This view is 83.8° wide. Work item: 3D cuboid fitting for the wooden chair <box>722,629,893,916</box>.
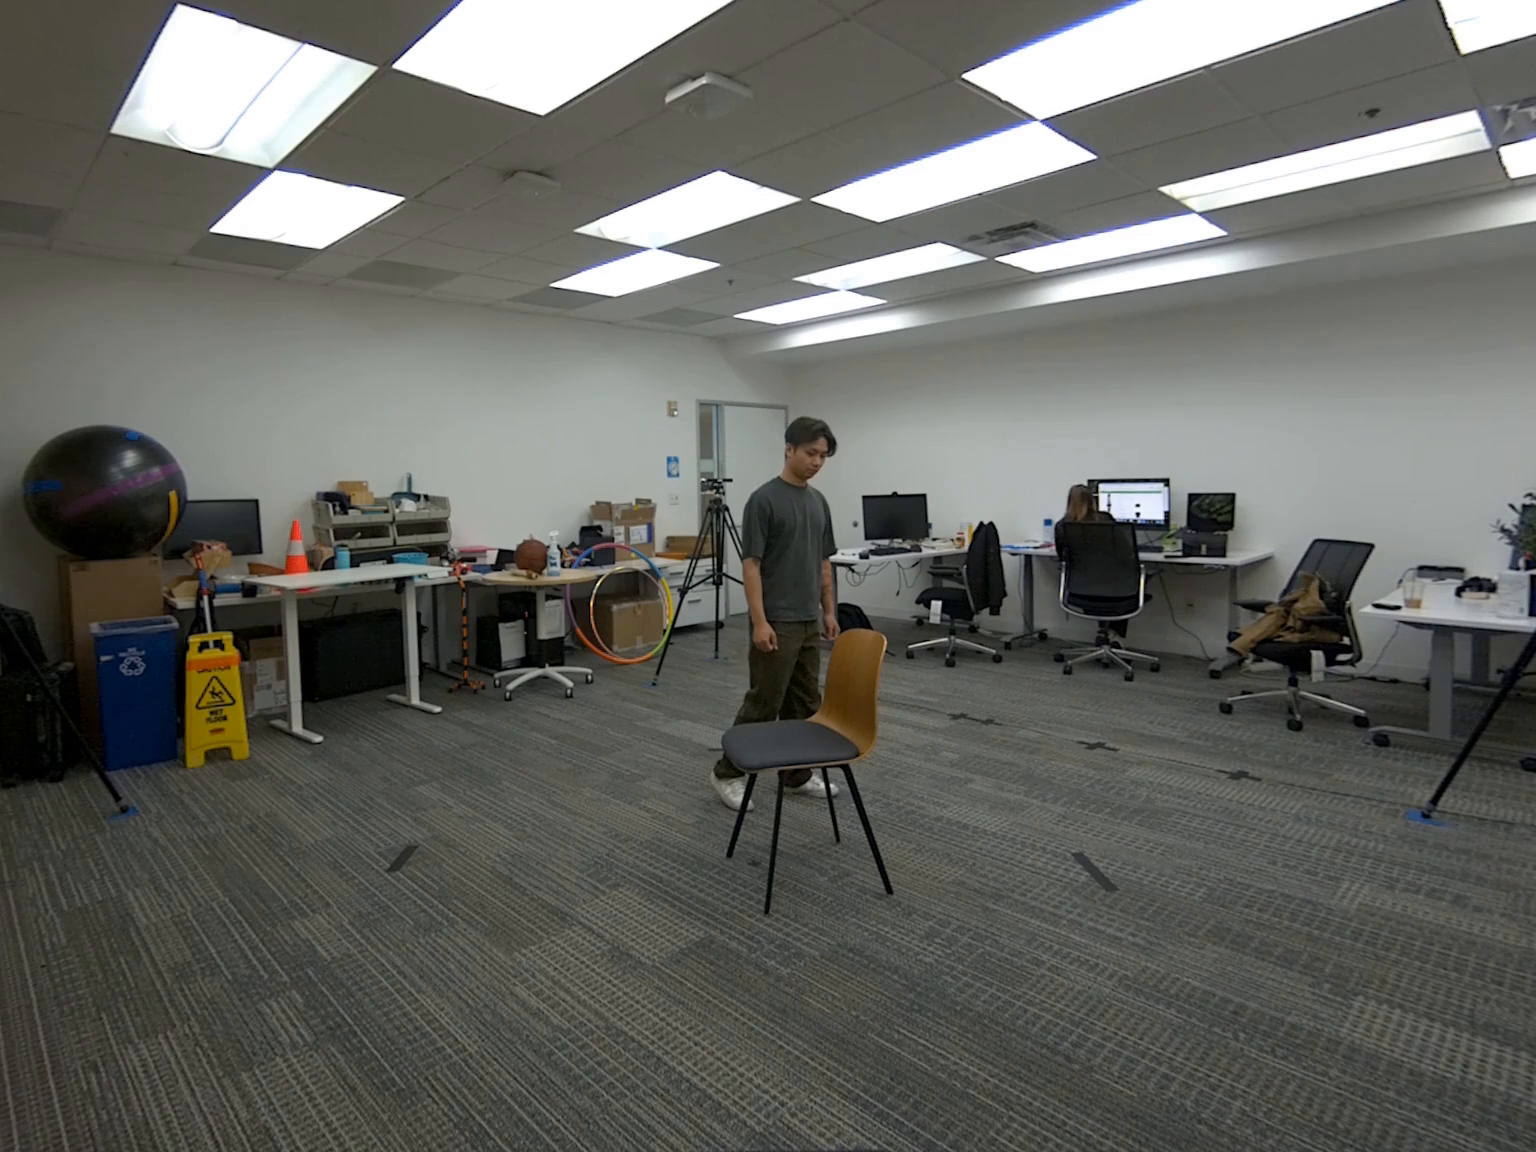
[{"bbox_3d":[0.120,0.632,2.978,0.514,0.875,0.487,2,3,-18],"label":"wooden chair"}]
